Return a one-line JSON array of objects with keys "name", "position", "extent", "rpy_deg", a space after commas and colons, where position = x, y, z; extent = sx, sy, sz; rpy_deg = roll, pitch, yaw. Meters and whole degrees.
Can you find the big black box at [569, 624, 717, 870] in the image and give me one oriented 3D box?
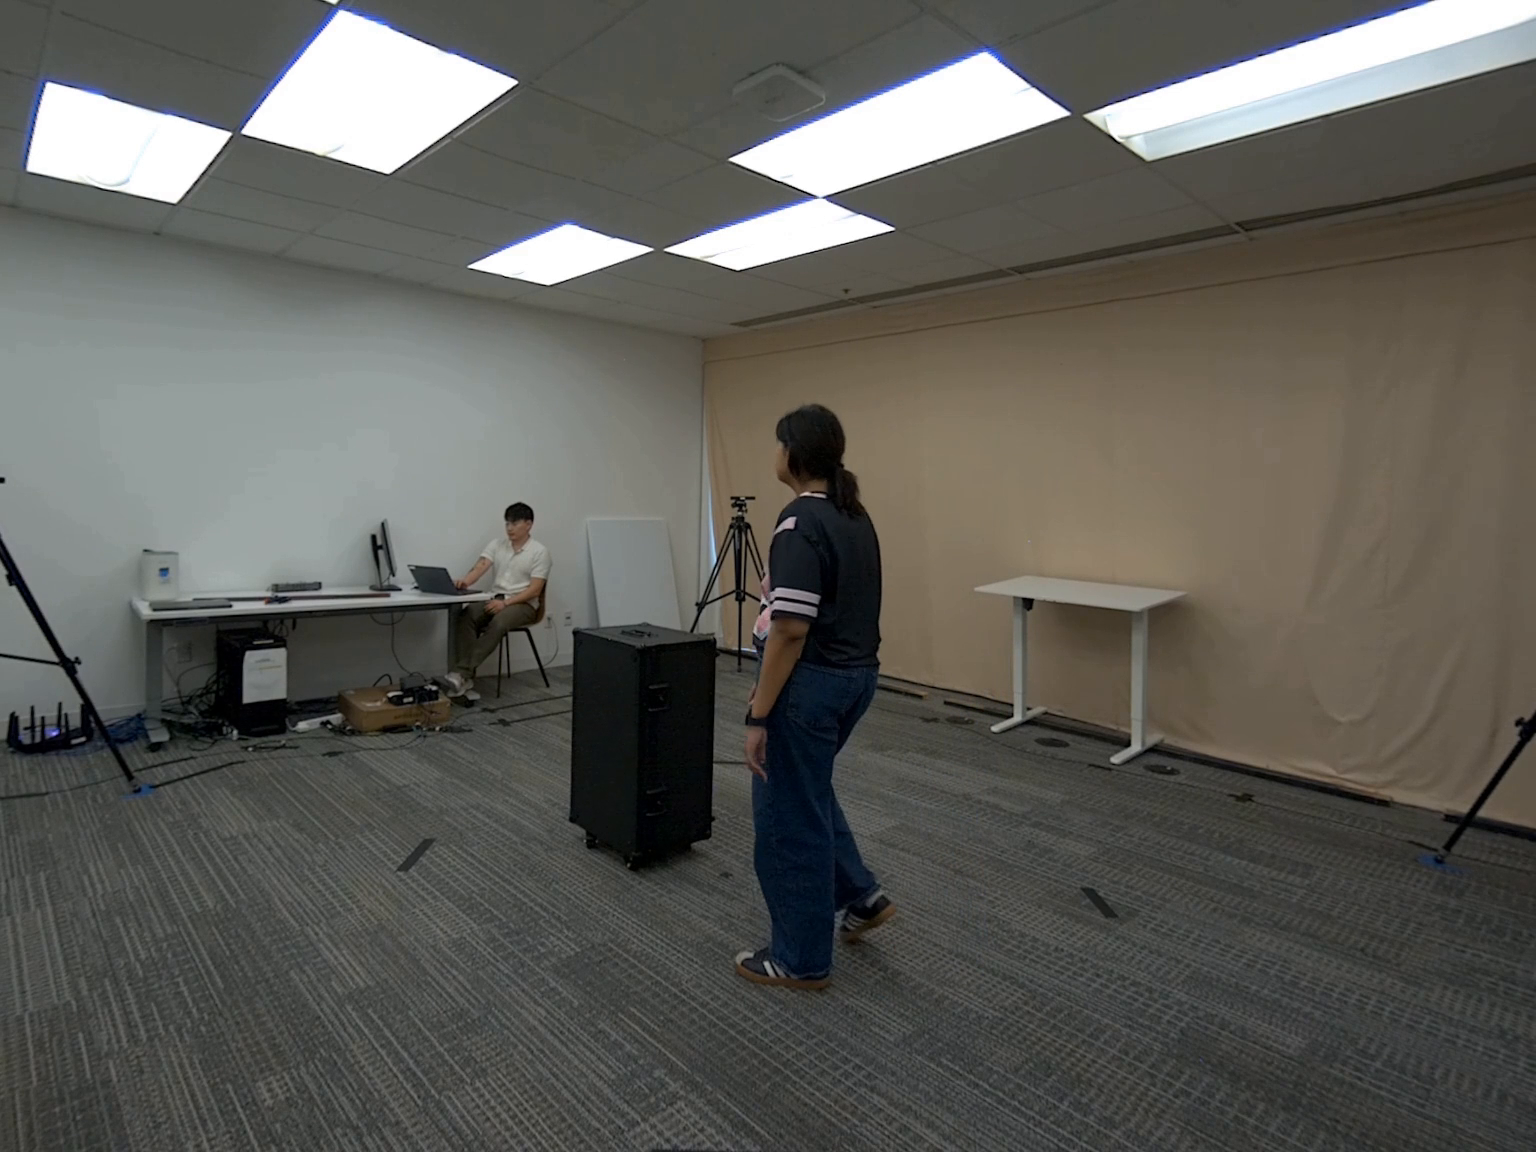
[{"name": "big black box", "position": [-0.513, 0.654, 3.327], "extent": [0.376, 0.866, 0.537], "rpy_deg": [-1, 4, -43]}]
